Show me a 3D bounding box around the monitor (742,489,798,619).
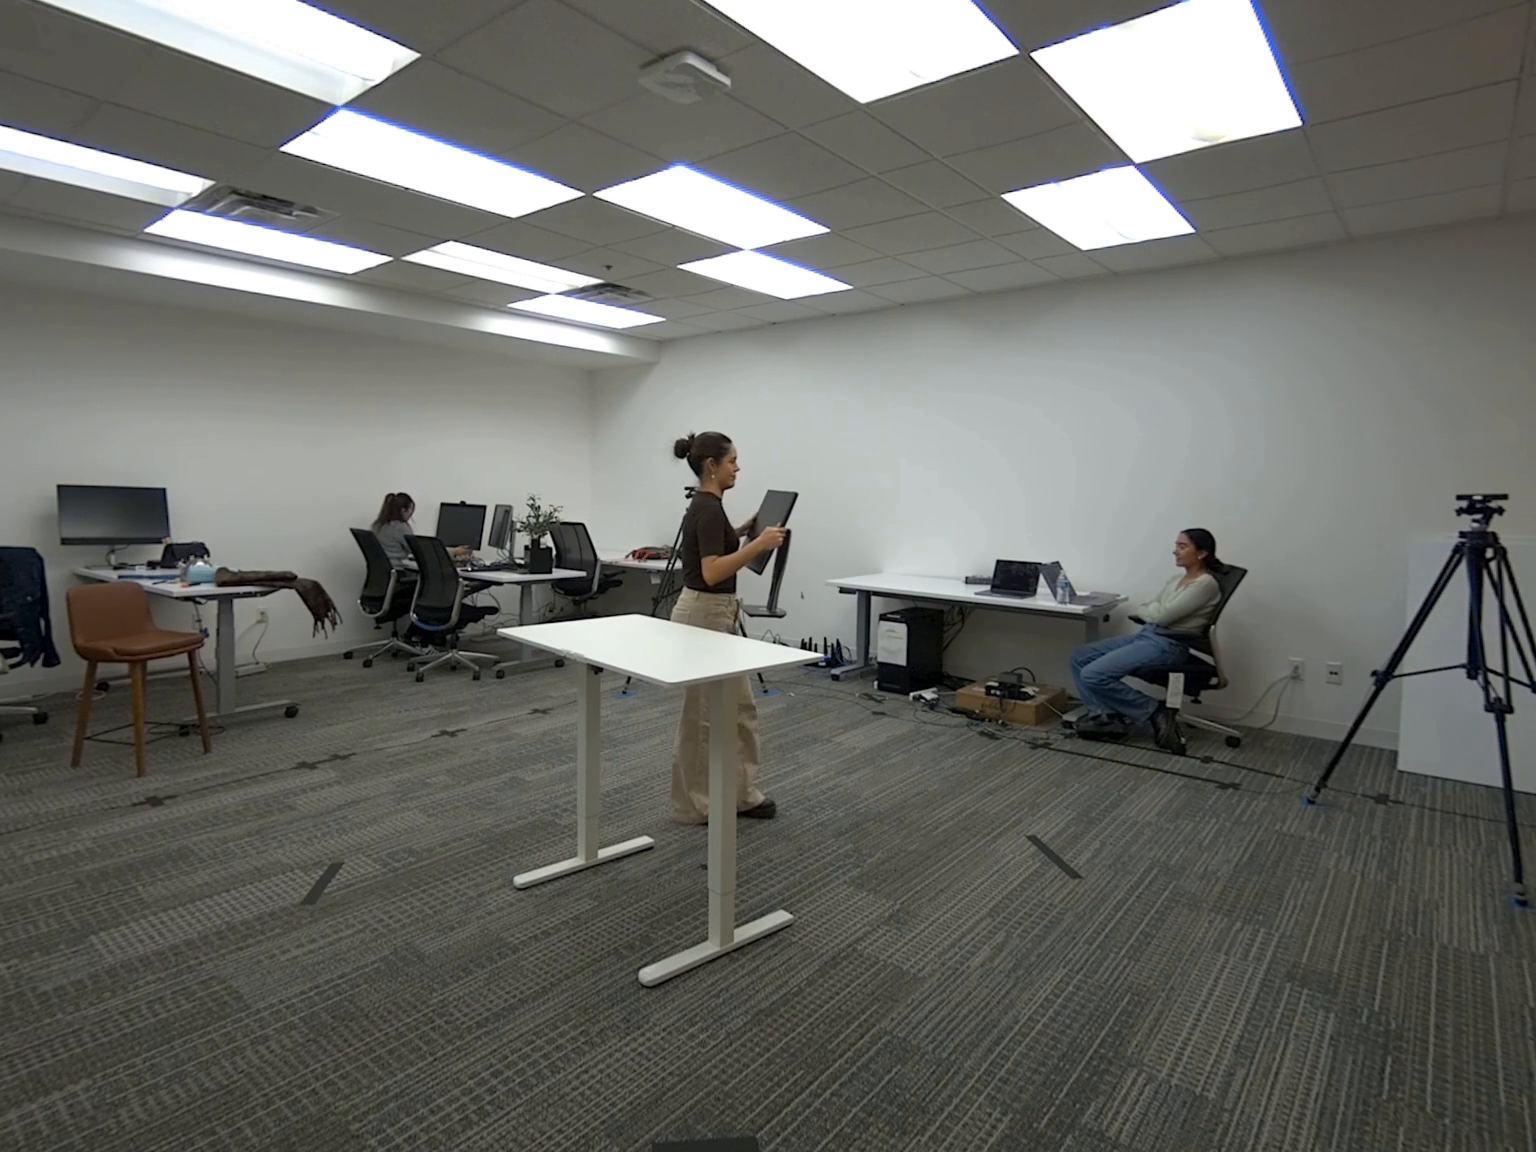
[{"bbox_3d":[0.000,-0.098,3.561,0.184,0.521,0.549,9,4,-14],"label":"monitor"}]
